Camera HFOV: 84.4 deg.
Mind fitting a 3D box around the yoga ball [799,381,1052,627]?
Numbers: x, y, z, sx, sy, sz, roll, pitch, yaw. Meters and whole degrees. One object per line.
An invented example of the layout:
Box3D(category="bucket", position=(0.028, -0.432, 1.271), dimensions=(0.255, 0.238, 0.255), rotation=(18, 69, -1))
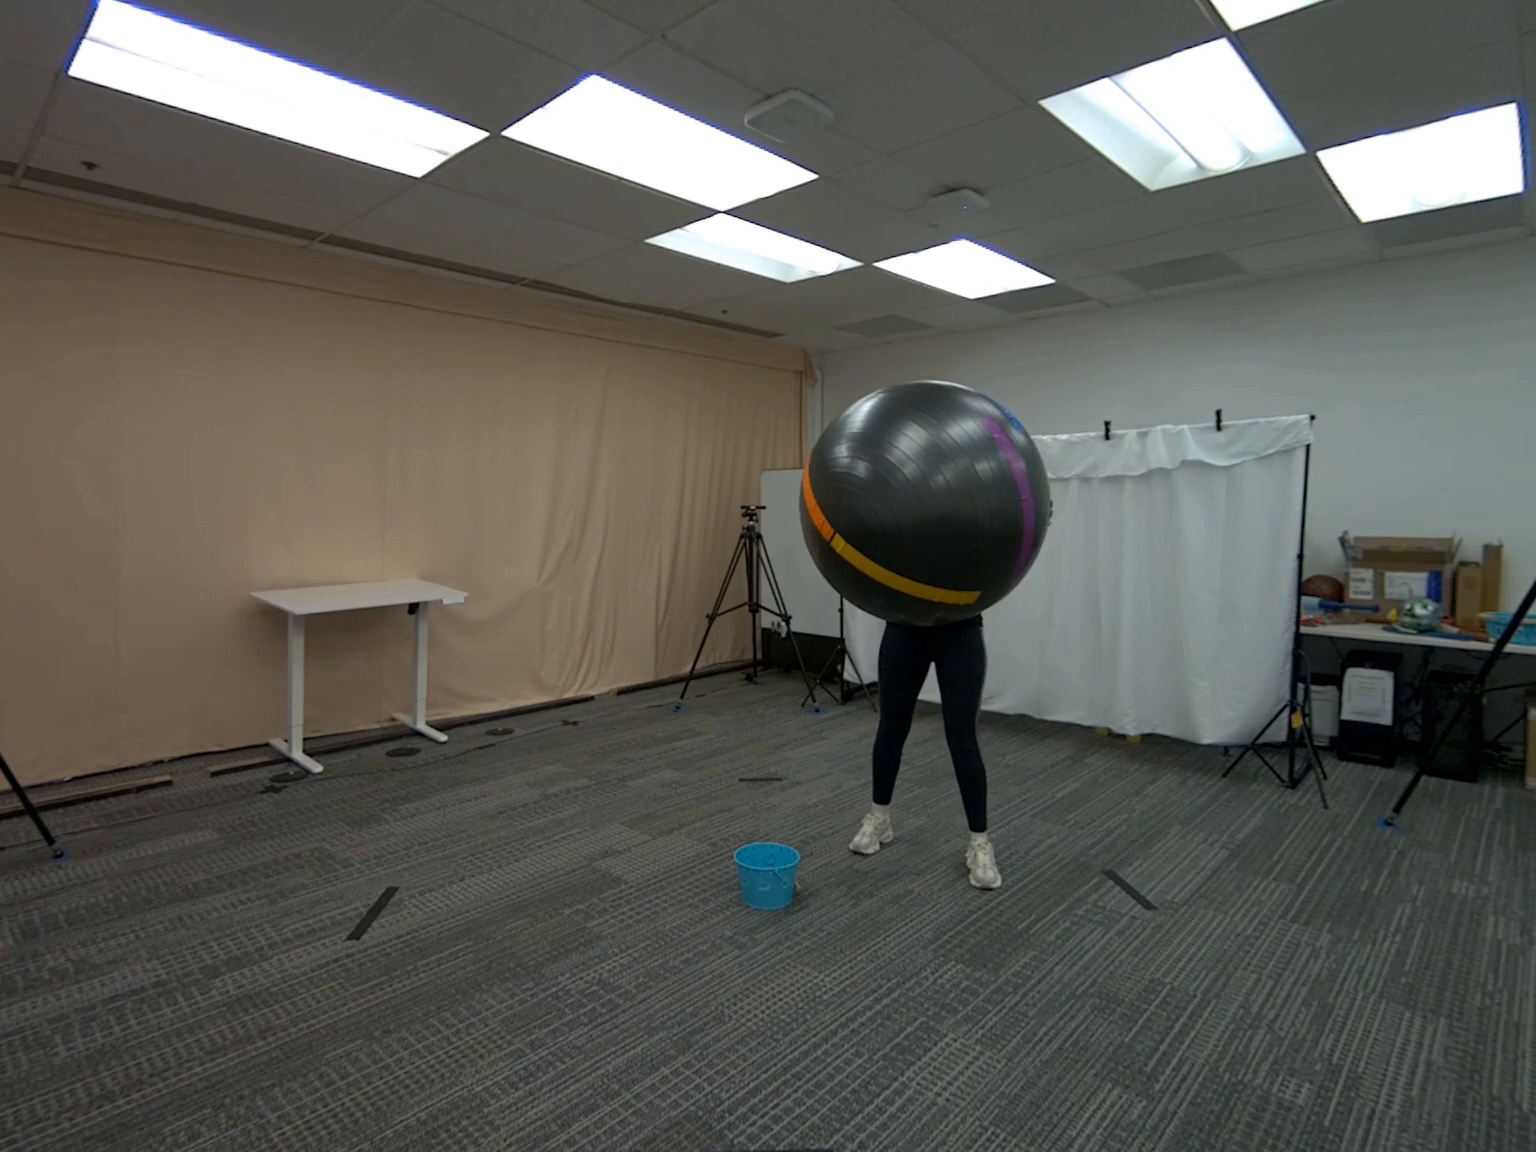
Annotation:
Box3D(category="yoga ball", position=(0.486, -0.207, 2.628), dimensions=(0.757, 0.756, 0.760), rotation=(0, 4, -2))
